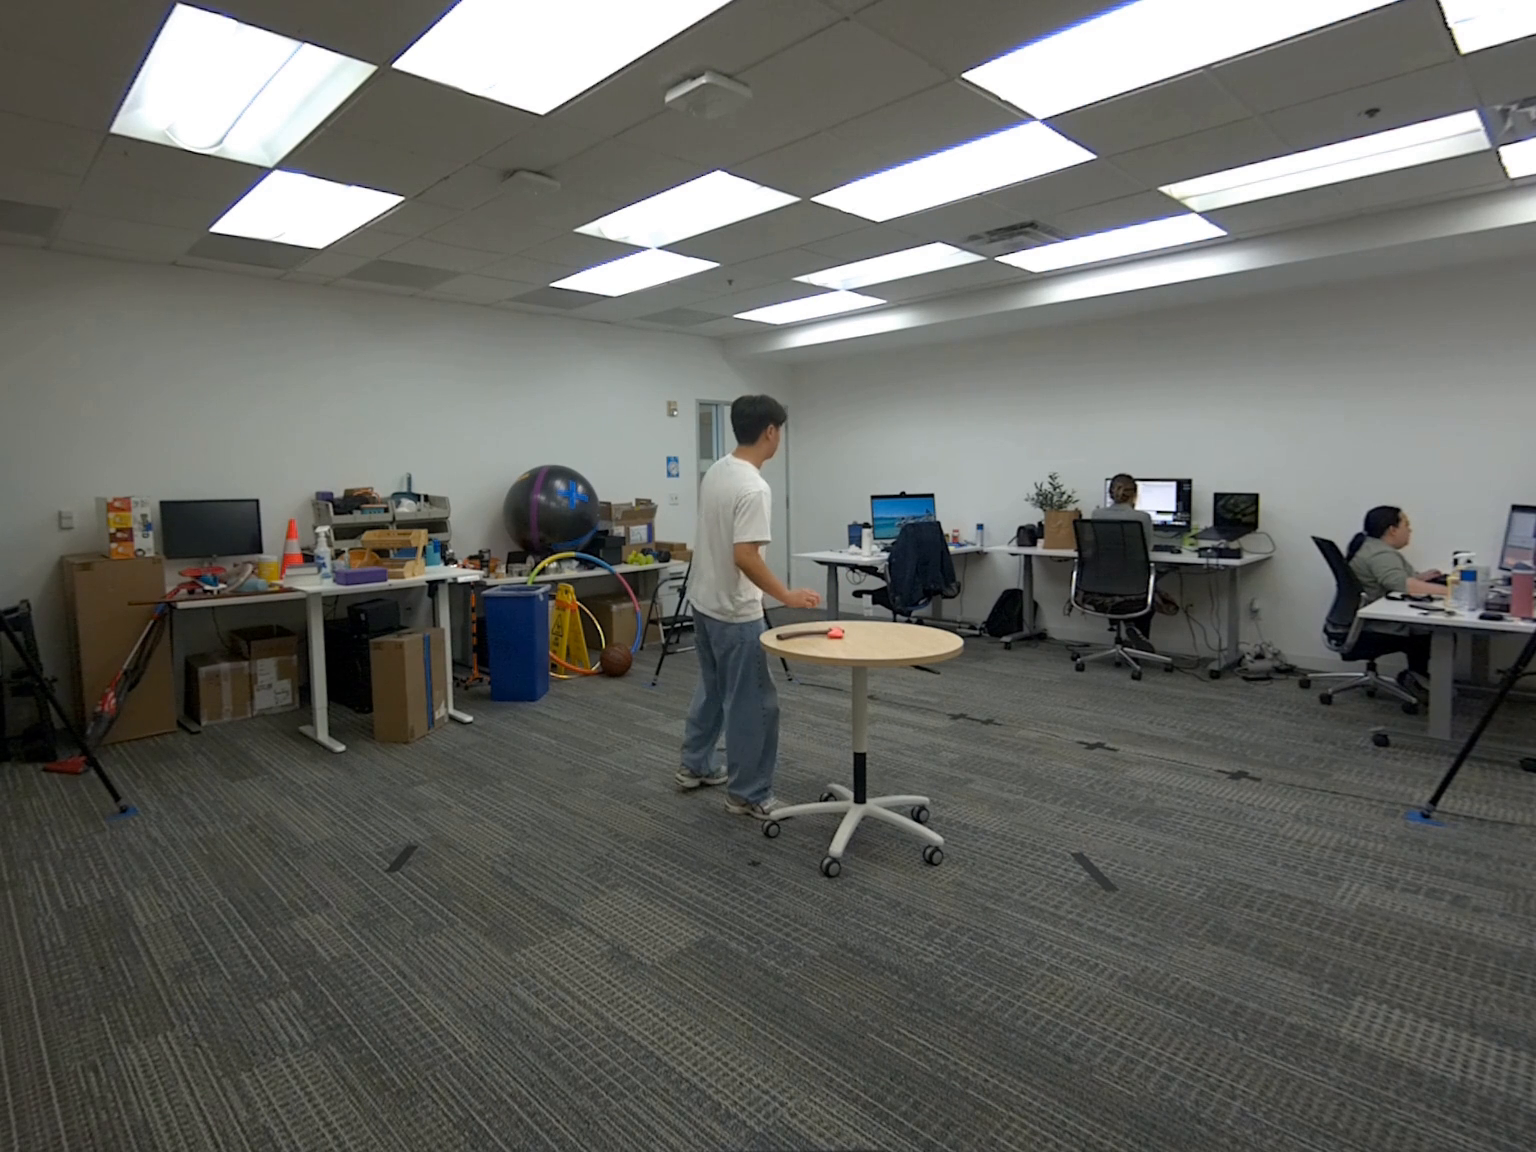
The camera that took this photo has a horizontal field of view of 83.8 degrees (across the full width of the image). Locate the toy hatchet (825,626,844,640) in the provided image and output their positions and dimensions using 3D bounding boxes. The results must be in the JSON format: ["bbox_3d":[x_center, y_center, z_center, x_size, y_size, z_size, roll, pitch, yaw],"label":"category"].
[{"bbox_3d":[0.184,0.229,3.268,0.264,0.029,0.135,-6,12,-27],"label":"toy hatchet"}]
